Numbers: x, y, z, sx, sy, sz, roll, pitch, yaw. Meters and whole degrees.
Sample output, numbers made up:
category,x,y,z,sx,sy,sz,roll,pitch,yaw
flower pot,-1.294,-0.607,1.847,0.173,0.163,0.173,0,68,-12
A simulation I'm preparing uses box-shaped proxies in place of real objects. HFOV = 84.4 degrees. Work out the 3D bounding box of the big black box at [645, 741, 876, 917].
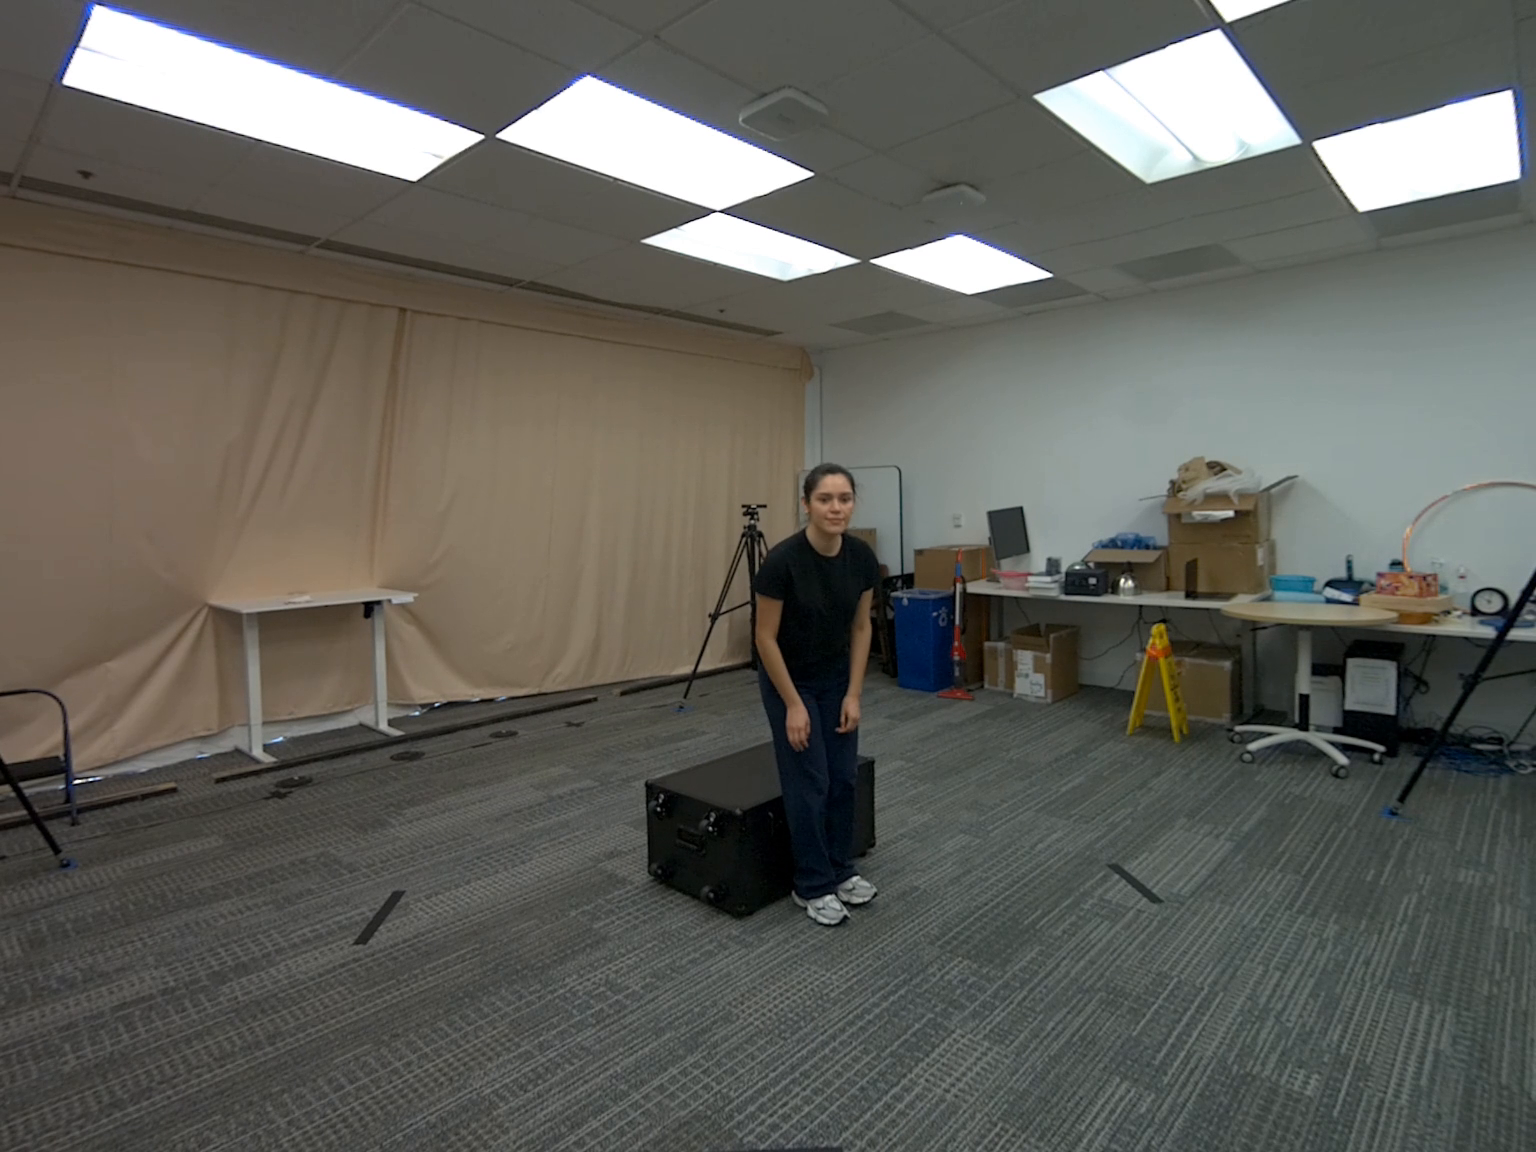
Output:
category,x,y,z,sx,sy,sz,roll,pitch,yaw
big black box,-0.025,0.929,3.219,0.538,0.395,0.835,3,5,43
